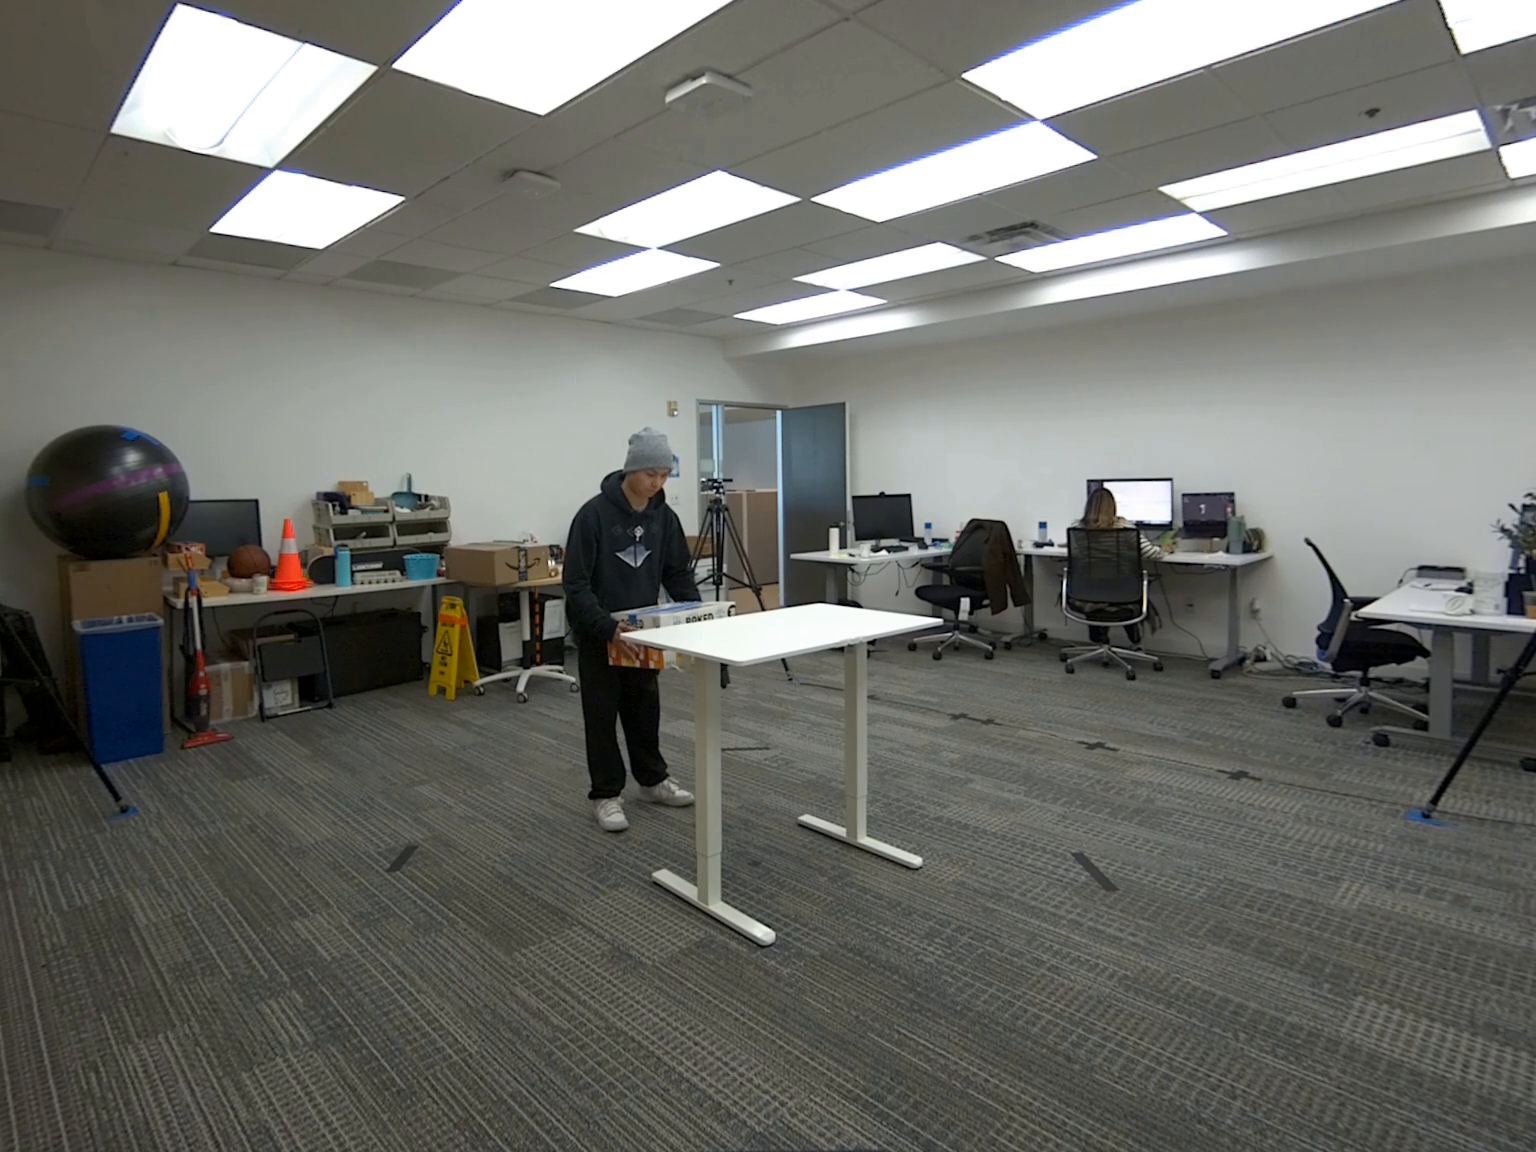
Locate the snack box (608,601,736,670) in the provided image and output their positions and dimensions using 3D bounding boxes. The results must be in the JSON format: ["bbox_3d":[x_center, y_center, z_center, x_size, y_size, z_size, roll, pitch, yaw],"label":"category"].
[{"bbox_3d":[-0.382,0.227,3.407,0.350,0.205,0.395,-3,3,44],"label":"snack box"}]
